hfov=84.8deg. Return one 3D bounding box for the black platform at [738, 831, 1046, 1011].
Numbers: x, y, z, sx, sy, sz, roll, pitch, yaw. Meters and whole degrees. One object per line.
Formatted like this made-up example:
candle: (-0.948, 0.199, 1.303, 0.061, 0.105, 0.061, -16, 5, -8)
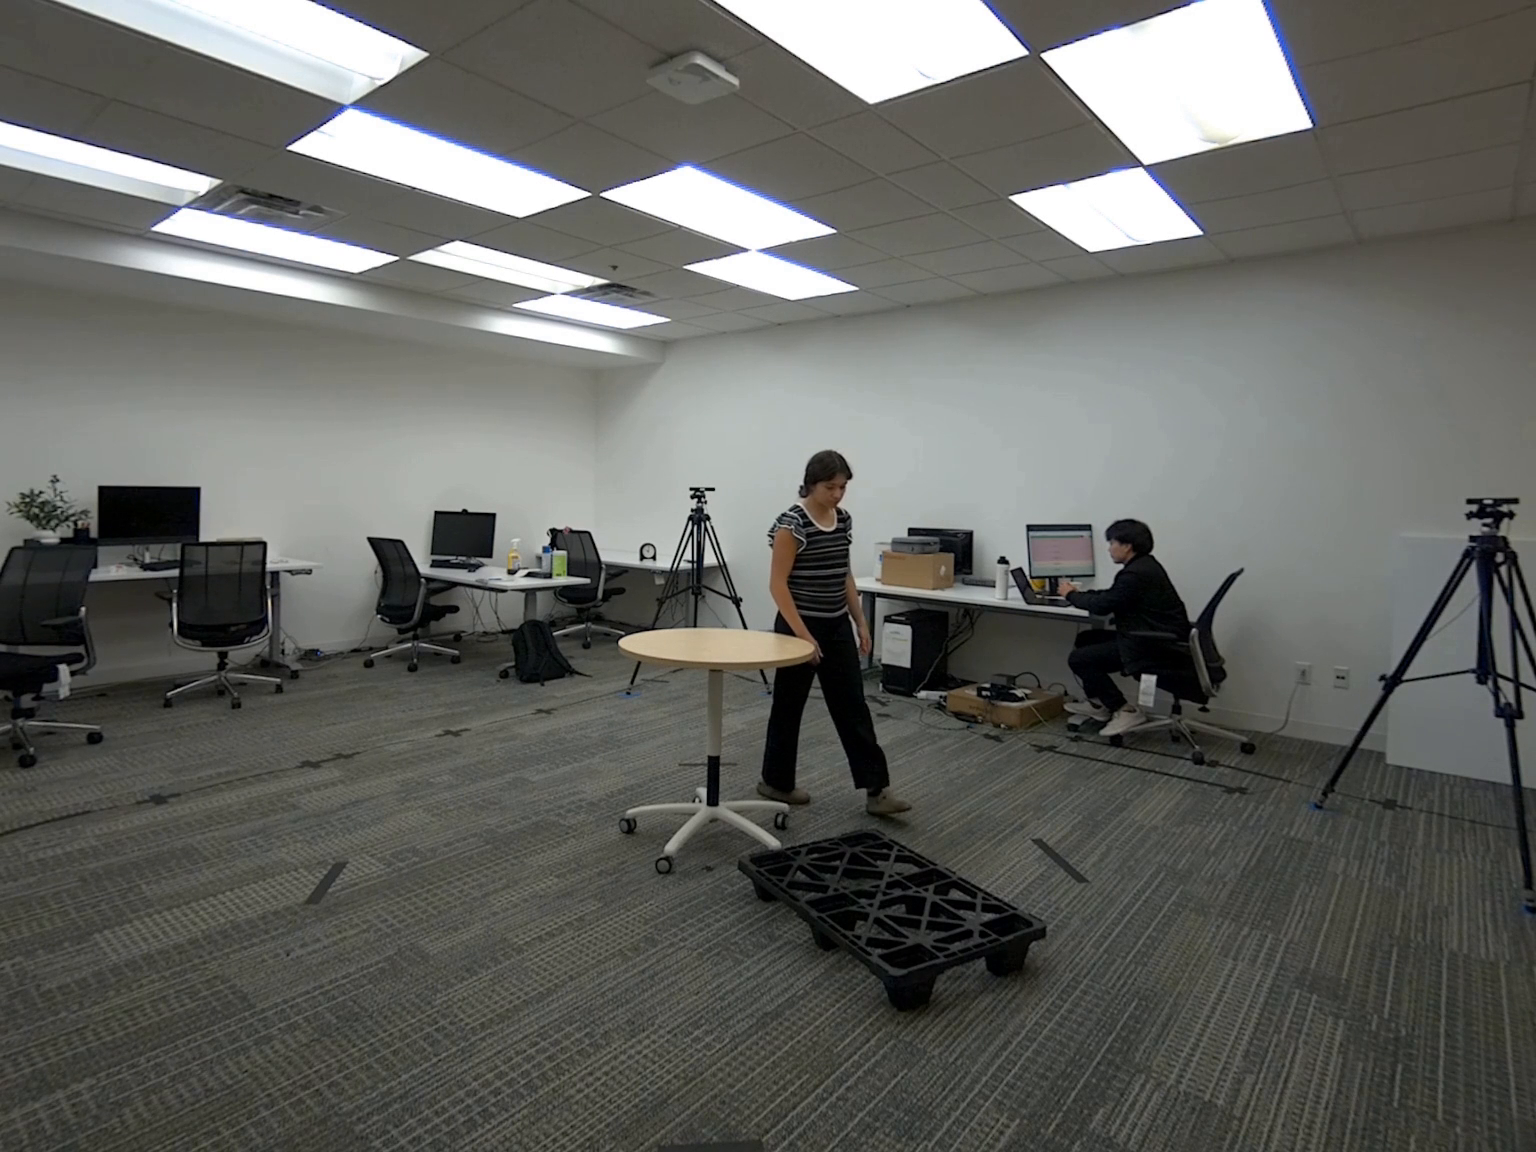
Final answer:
black platform: (0.349, 1.054, 2.702, 0.589, 0.143, 0.831, -3, 7, -31)
